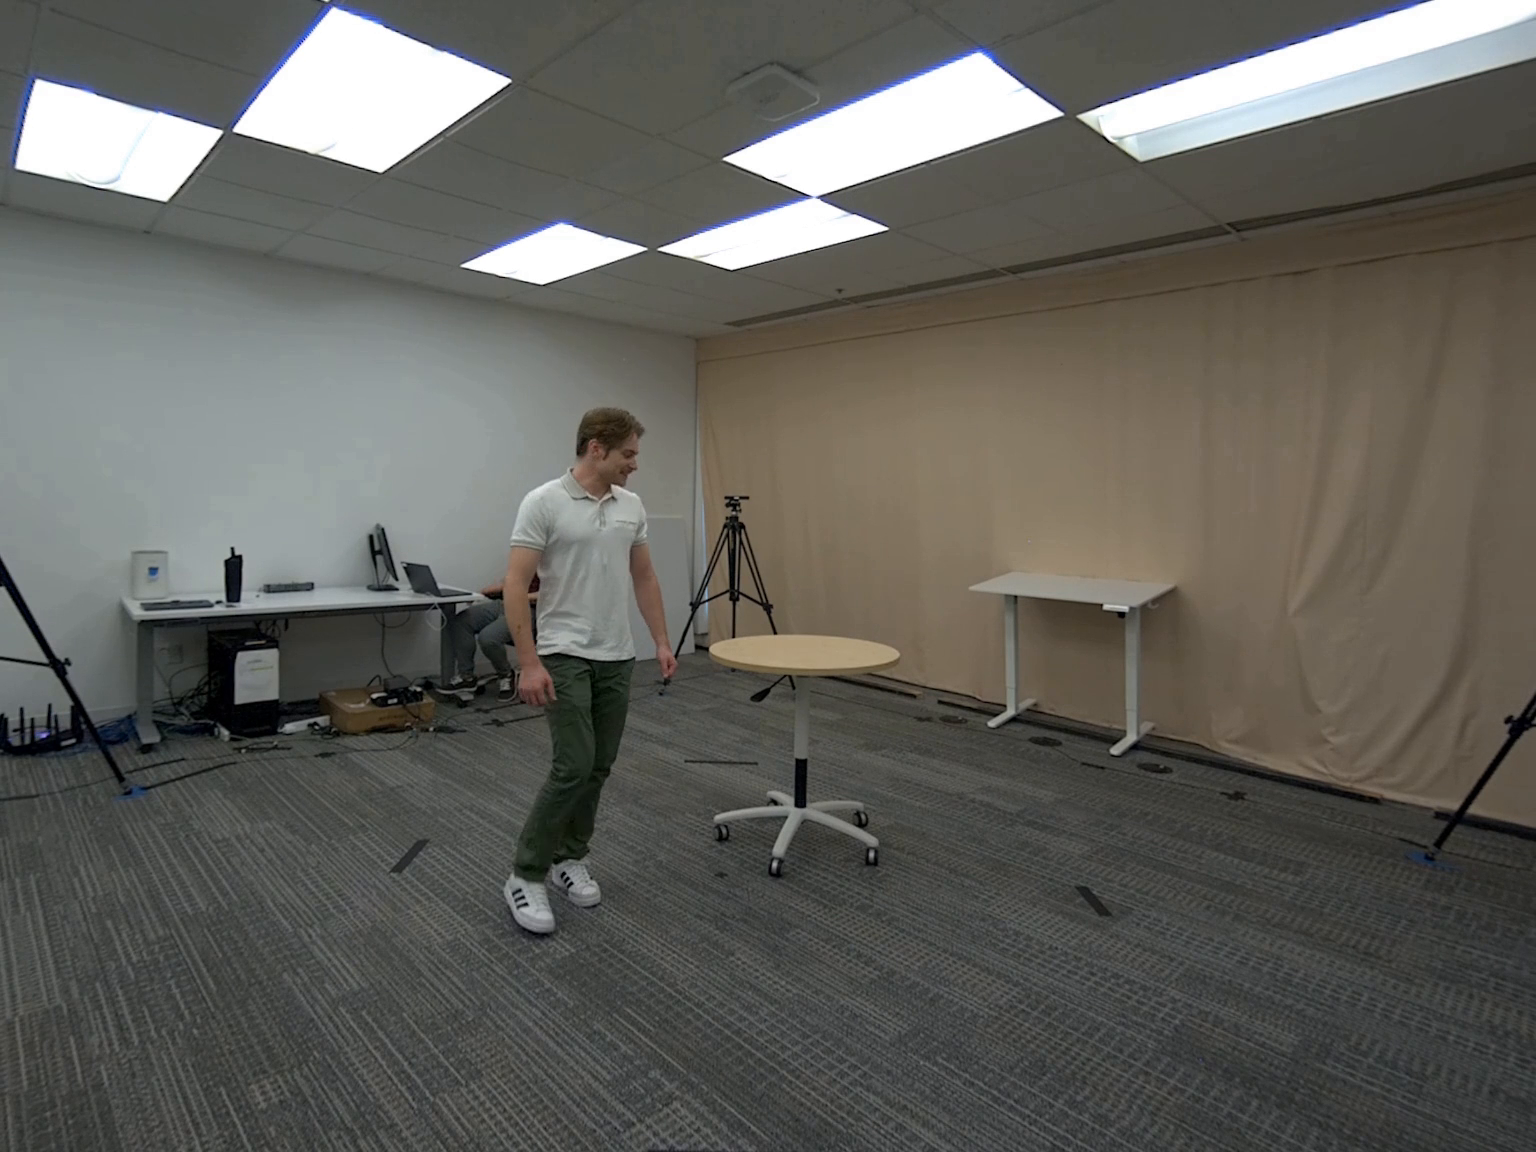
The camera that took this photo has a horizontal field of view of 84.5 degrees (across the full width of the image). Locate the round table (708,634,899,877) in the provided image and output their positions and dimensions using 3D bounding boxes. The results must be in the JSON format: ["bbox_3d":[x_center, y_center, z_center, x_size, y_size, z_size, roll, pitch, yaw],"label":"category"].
[{"bbox_3d":[0.133,0.694,3.417,0.763,0.792,0.766,1,4,-1],"label":"round table"}]
